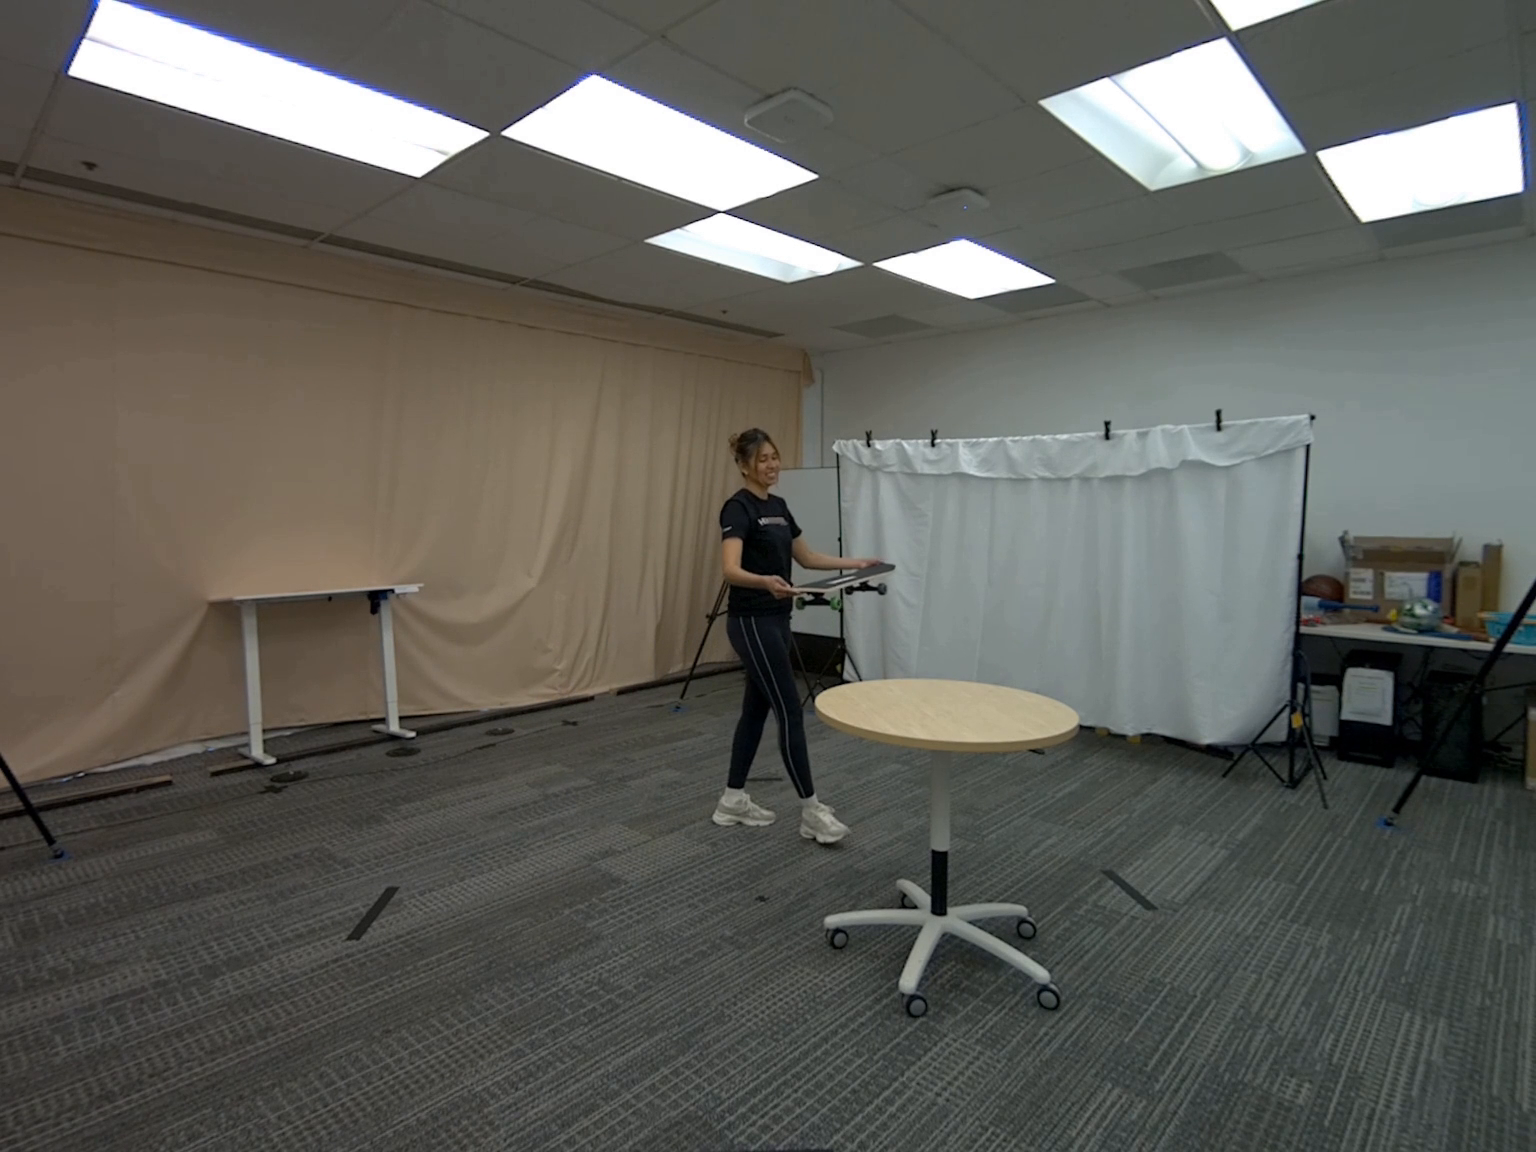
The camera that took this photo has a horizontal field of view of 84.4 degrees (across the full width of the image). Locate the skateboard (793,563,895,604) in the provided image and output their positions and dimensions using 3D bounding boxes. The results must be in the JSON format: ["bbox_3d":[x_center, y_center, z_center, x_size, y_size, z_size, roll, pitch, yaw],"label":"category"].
[{"bbox_3d":[0.298,0.050,3.366,0.199,0.110,0.764,1,8,35],"label":"skateboard"}]
